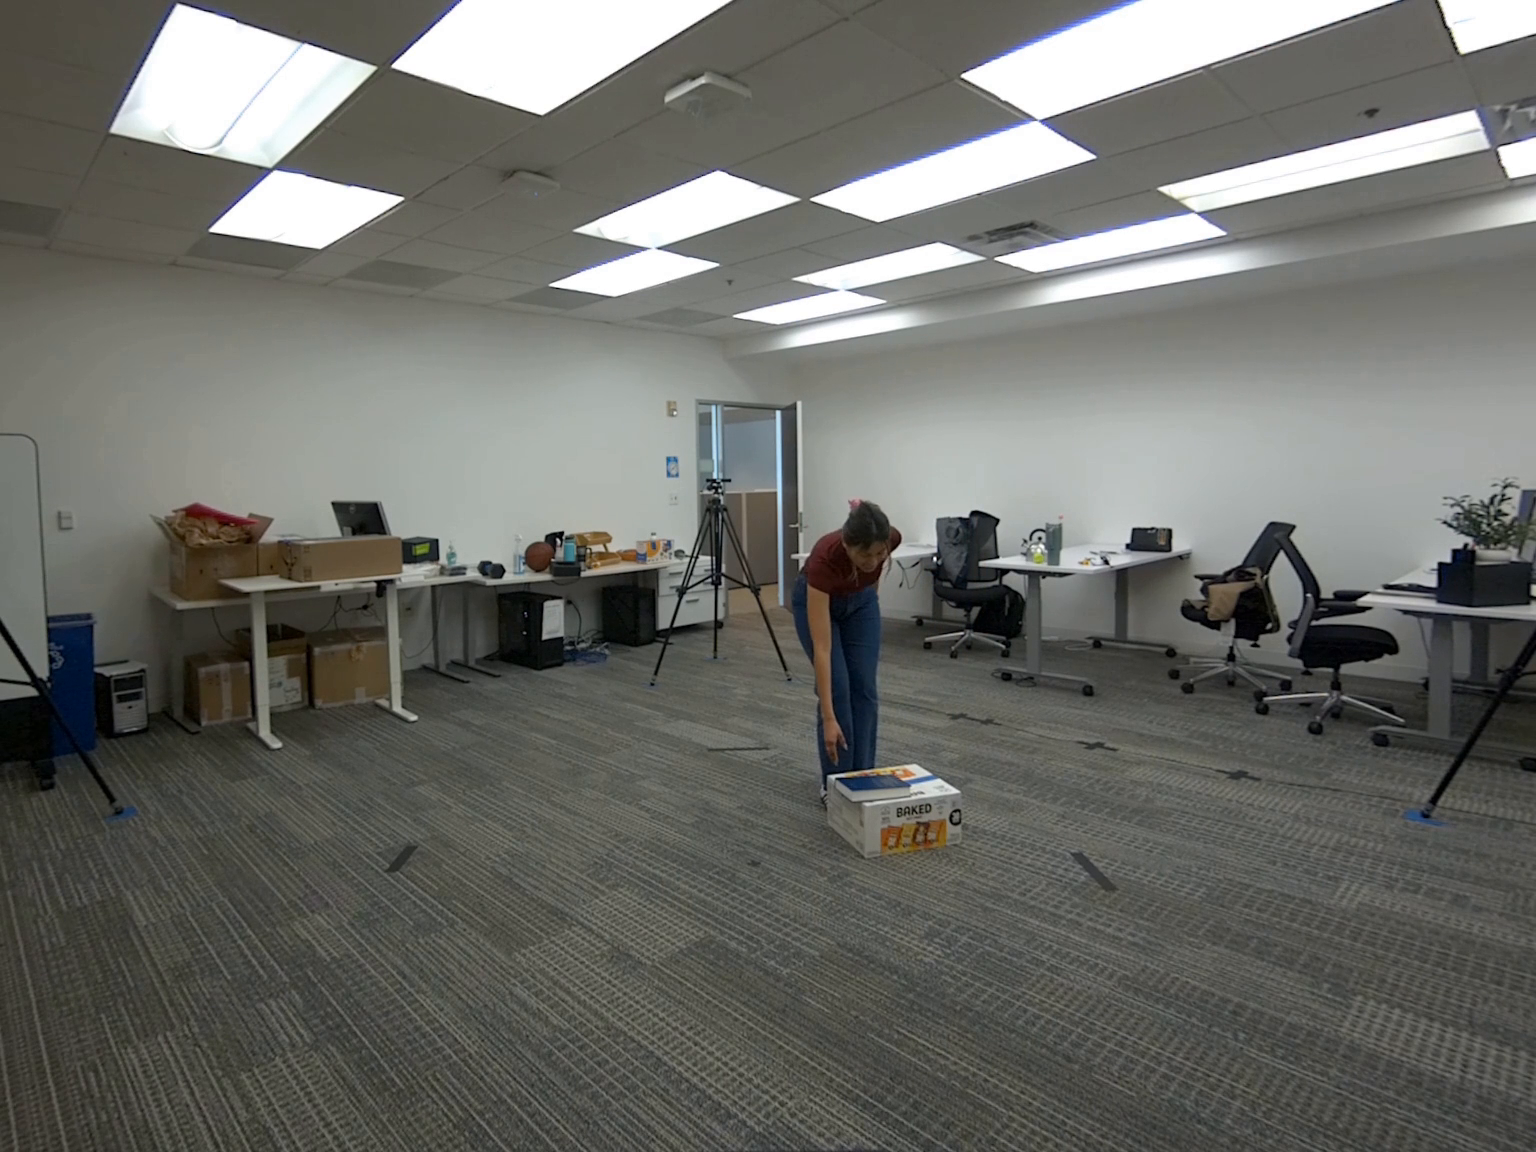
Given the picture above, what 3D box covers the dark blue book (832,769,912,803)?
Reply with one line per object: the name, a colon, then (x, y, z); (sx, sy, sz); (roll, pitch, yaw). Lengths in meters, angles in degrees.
dark blue book: (0.401, 0.804, 3.243); (0.241, 0.045, 0.166); (-1, 5, -18)
